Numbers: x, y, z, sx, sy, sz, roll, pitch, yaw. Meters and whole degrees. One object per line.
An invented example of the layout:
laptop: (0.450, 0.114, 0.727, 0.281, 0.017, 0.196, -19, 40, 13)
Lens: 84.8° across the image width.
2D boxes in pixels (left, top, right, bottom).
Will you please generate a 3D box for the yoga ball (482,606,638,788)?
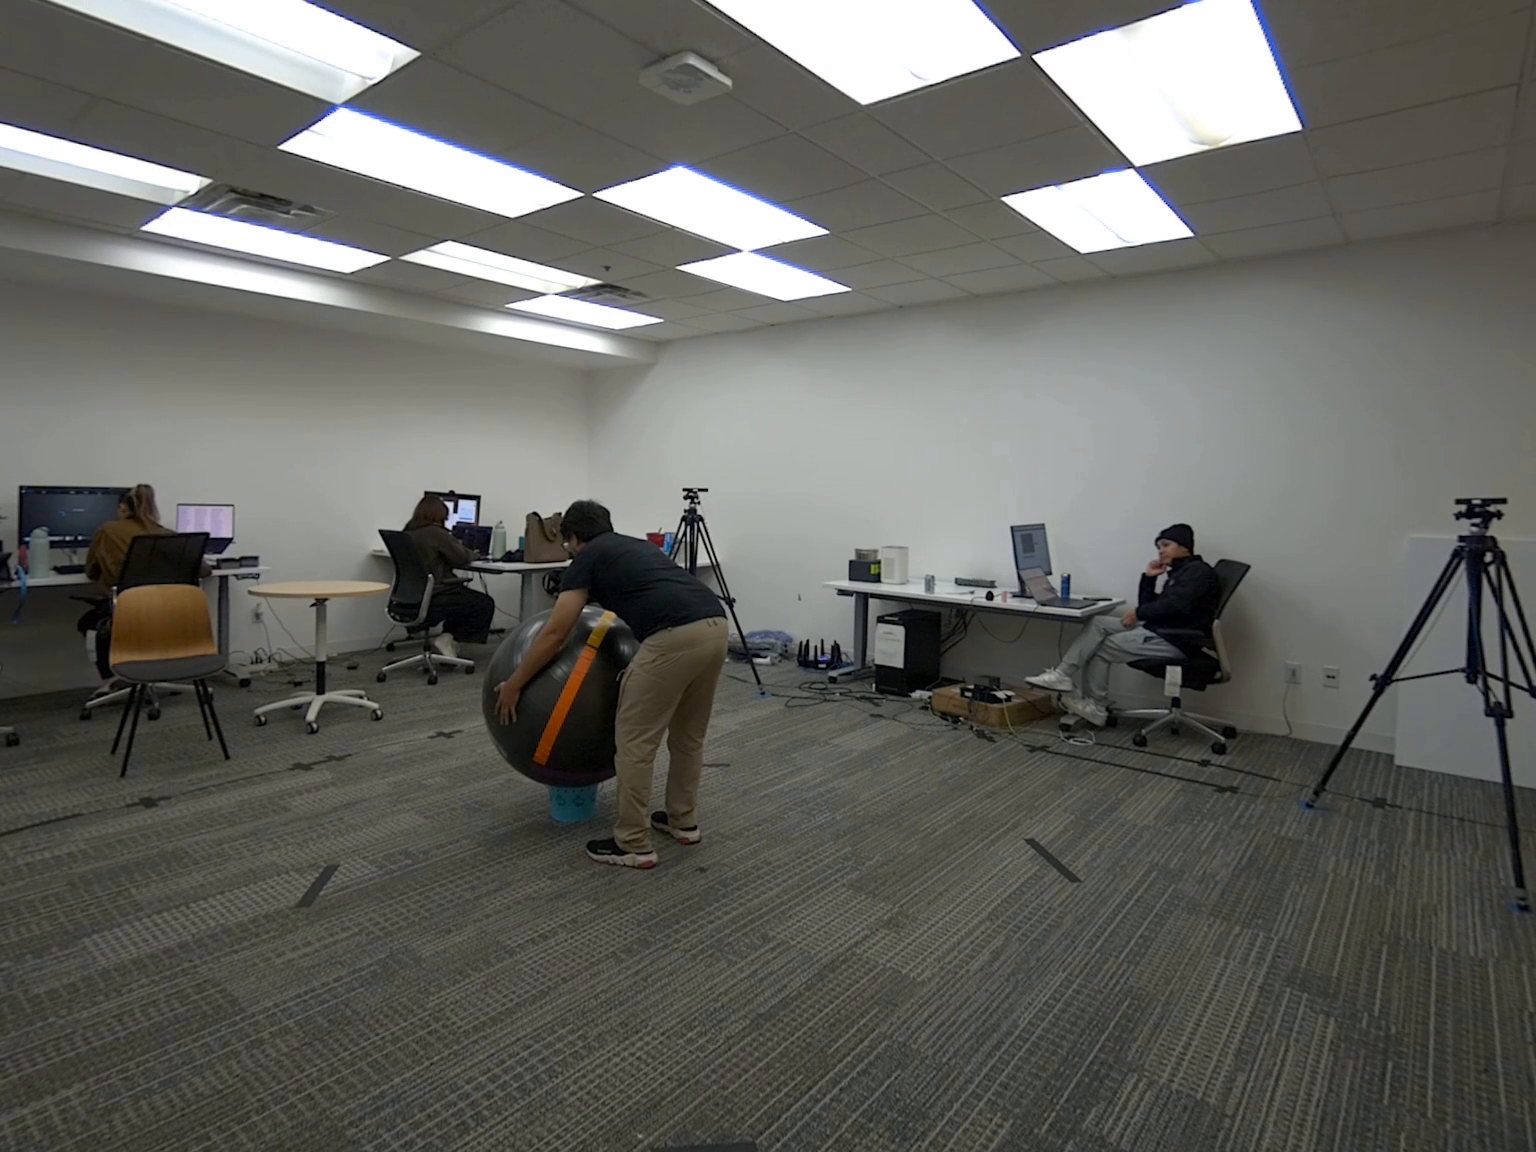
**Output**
yoga ball: (-0.828, 0.507, 3.601, 0.757, 0.755, 0.762, 1, 4, -2)
